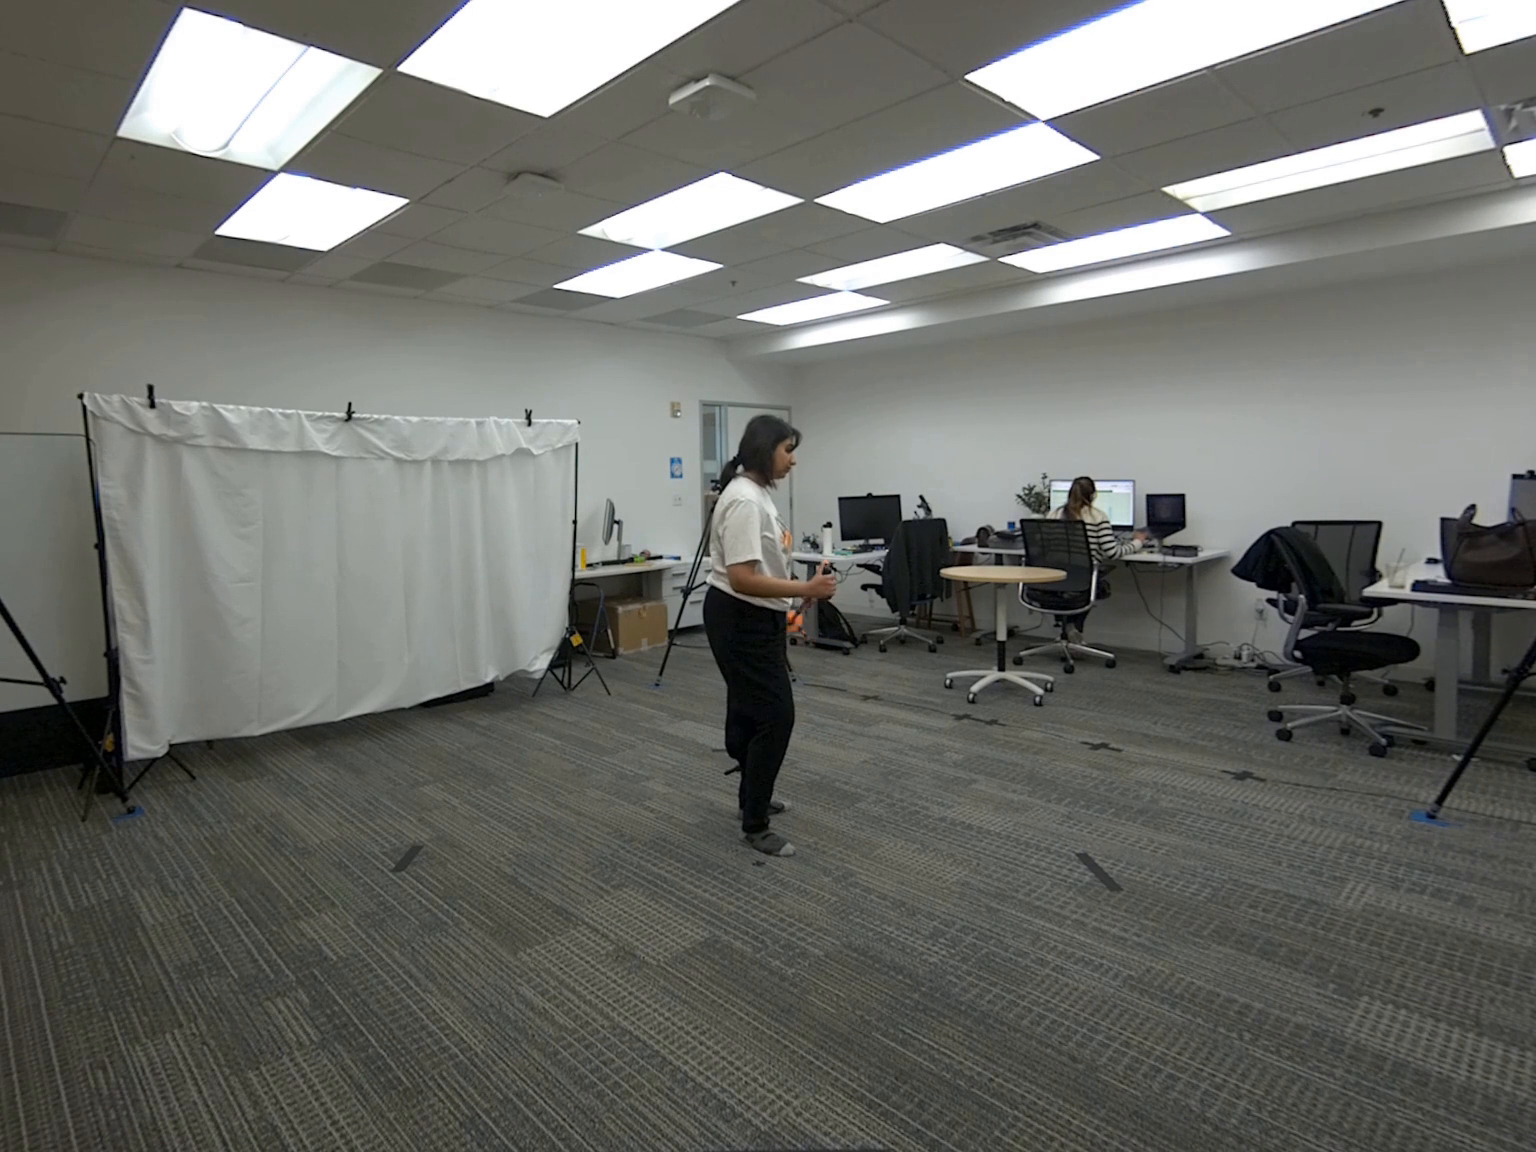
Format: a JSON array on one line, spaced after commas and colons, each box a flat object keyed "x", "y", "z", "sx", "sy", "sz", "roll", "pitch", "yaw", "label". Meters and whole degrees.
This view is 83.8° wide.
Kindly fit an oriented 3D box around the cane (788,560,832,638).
[{"x": 0.186, "y": 0.117, "z": 3.582, "sx": 0.151, "sy": 0.210, "sz": 0.898, "roll": 2, "pitch": -17, "yaw": -6, "label": "cane"}]
